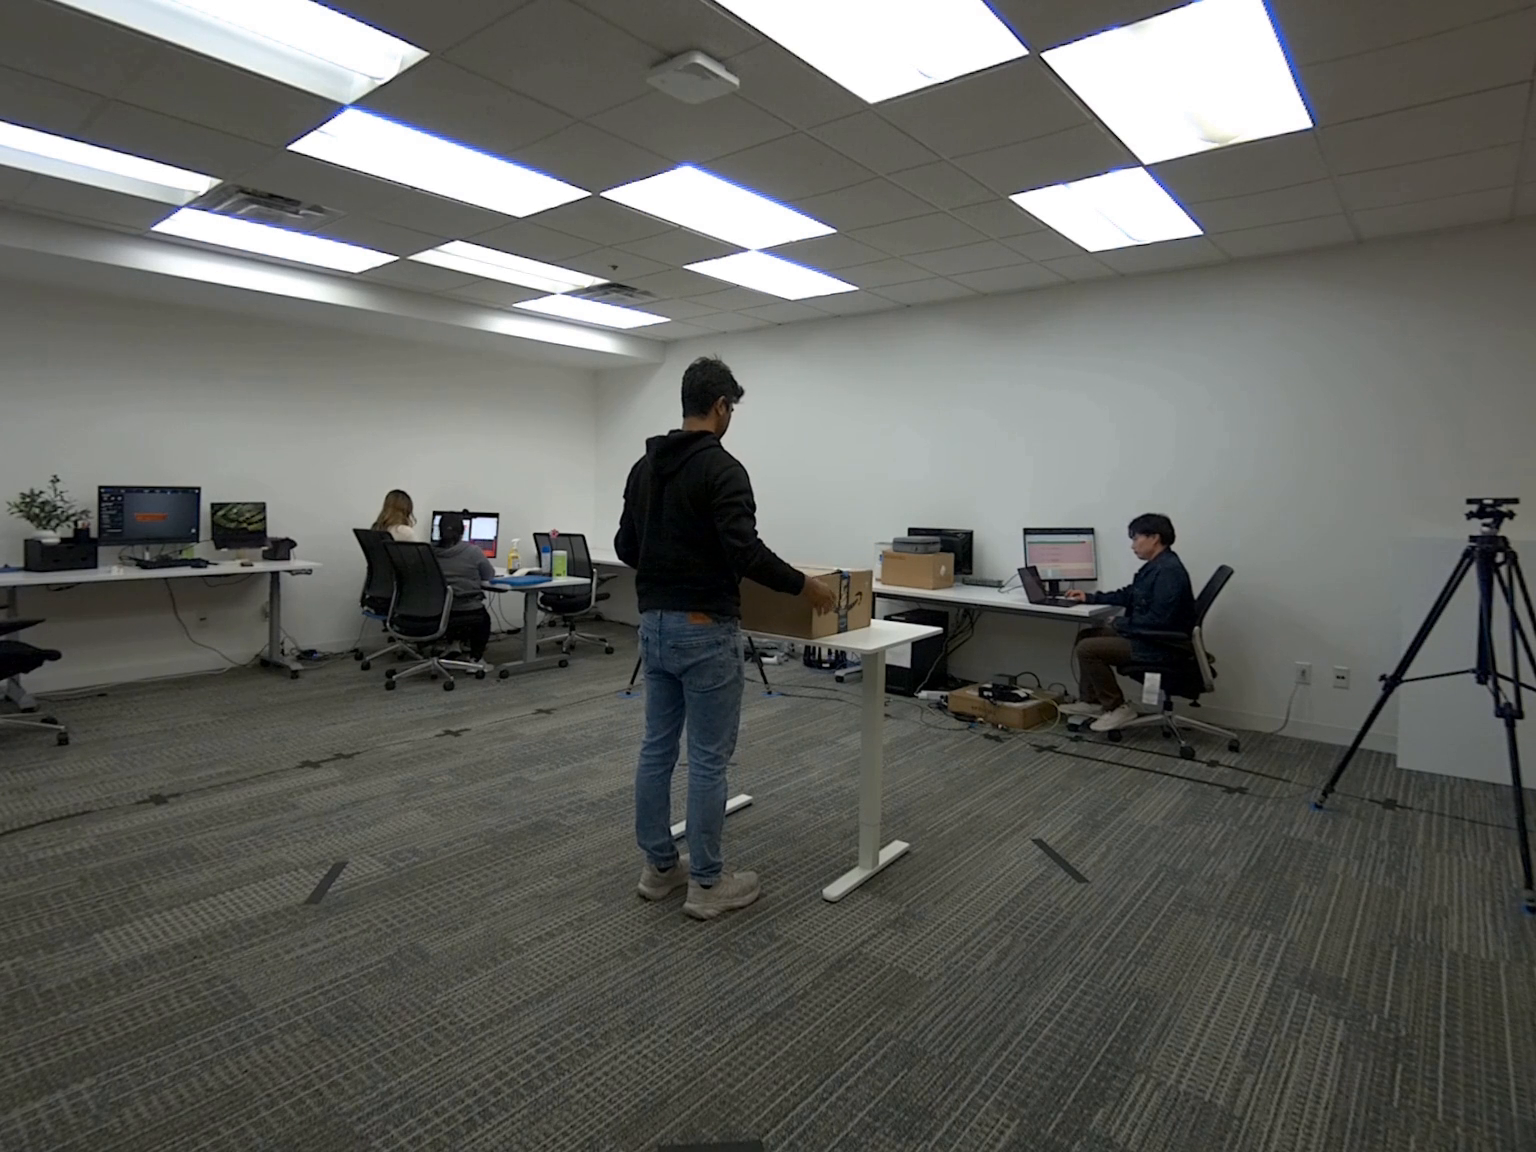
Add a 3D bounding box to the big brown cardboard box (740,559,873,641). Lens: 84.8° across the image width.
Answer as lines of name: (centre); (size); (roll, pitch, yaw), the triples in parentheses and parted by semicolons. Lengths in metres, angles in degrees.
big brown cardboard box: (0.033, 0.067, 3.210); (0.608, 0.232, 0.406); (4, 6, 37)
